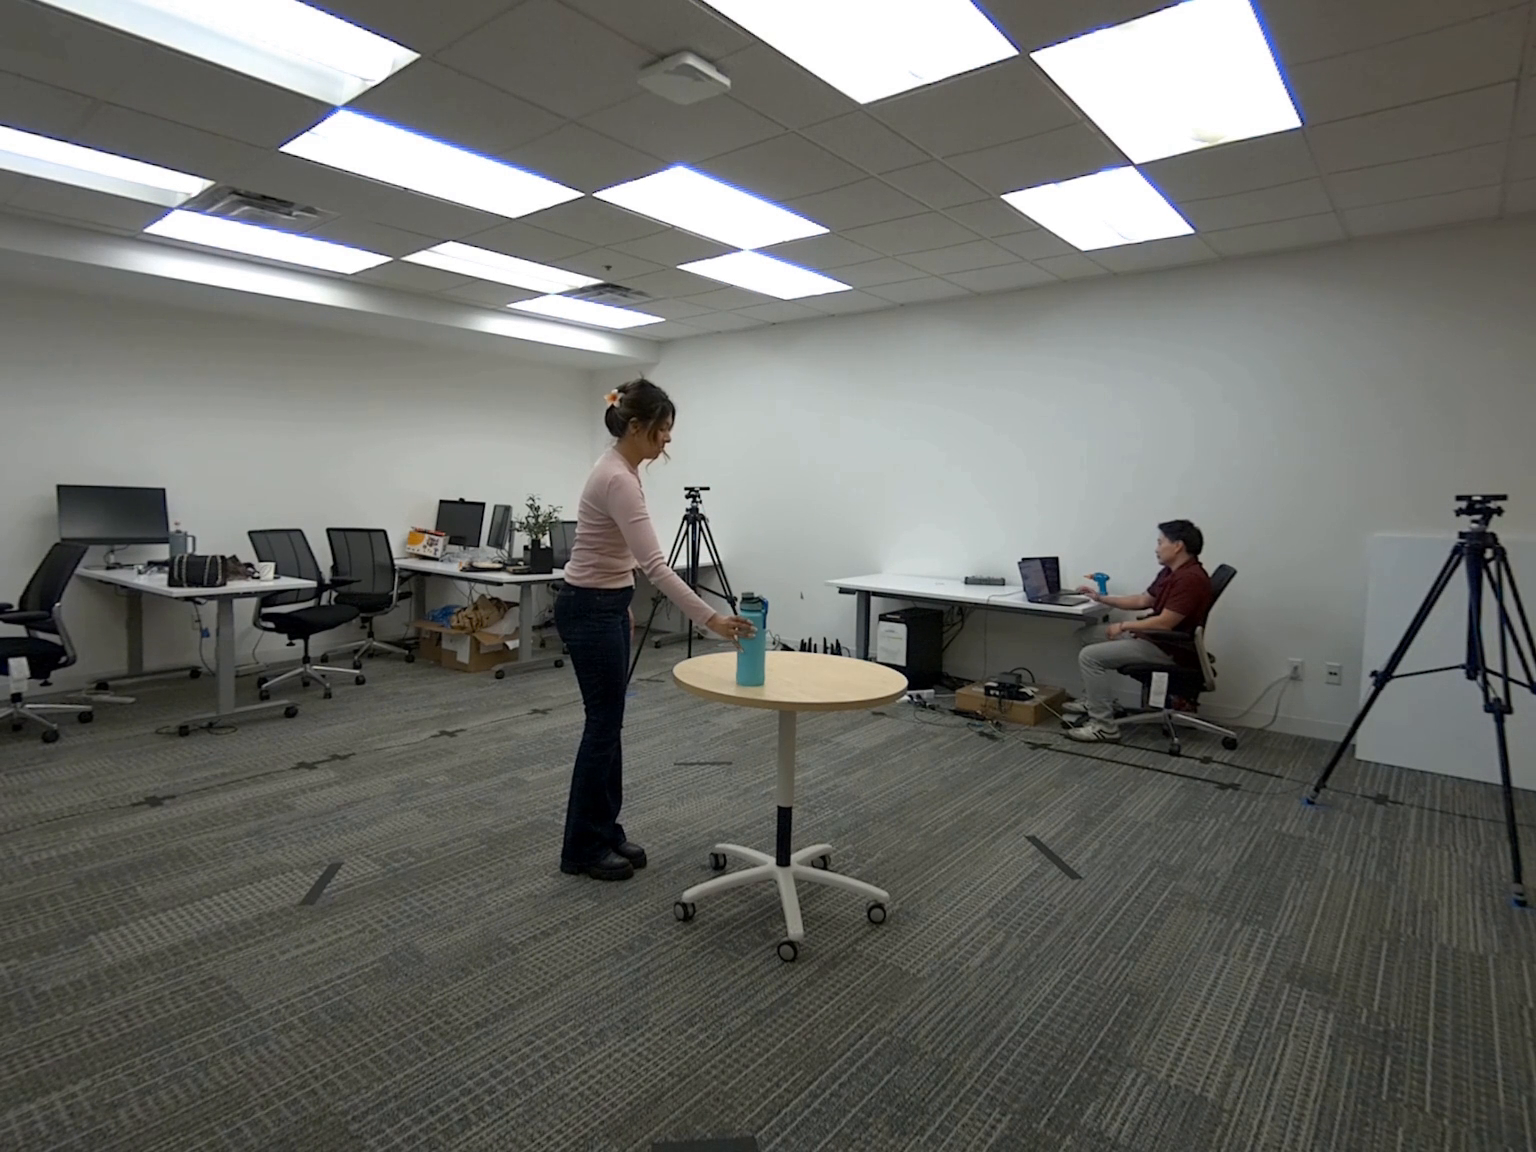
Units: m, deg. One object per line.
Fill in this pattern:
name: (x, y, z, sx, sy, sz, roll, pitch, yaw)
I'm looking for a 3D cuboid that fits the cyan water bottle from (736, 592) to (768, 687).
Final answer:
cyan water bottle: (-0.053, 0.191, 2.626, 0.092, 0.282, 0.093, 2, 4, -2)
